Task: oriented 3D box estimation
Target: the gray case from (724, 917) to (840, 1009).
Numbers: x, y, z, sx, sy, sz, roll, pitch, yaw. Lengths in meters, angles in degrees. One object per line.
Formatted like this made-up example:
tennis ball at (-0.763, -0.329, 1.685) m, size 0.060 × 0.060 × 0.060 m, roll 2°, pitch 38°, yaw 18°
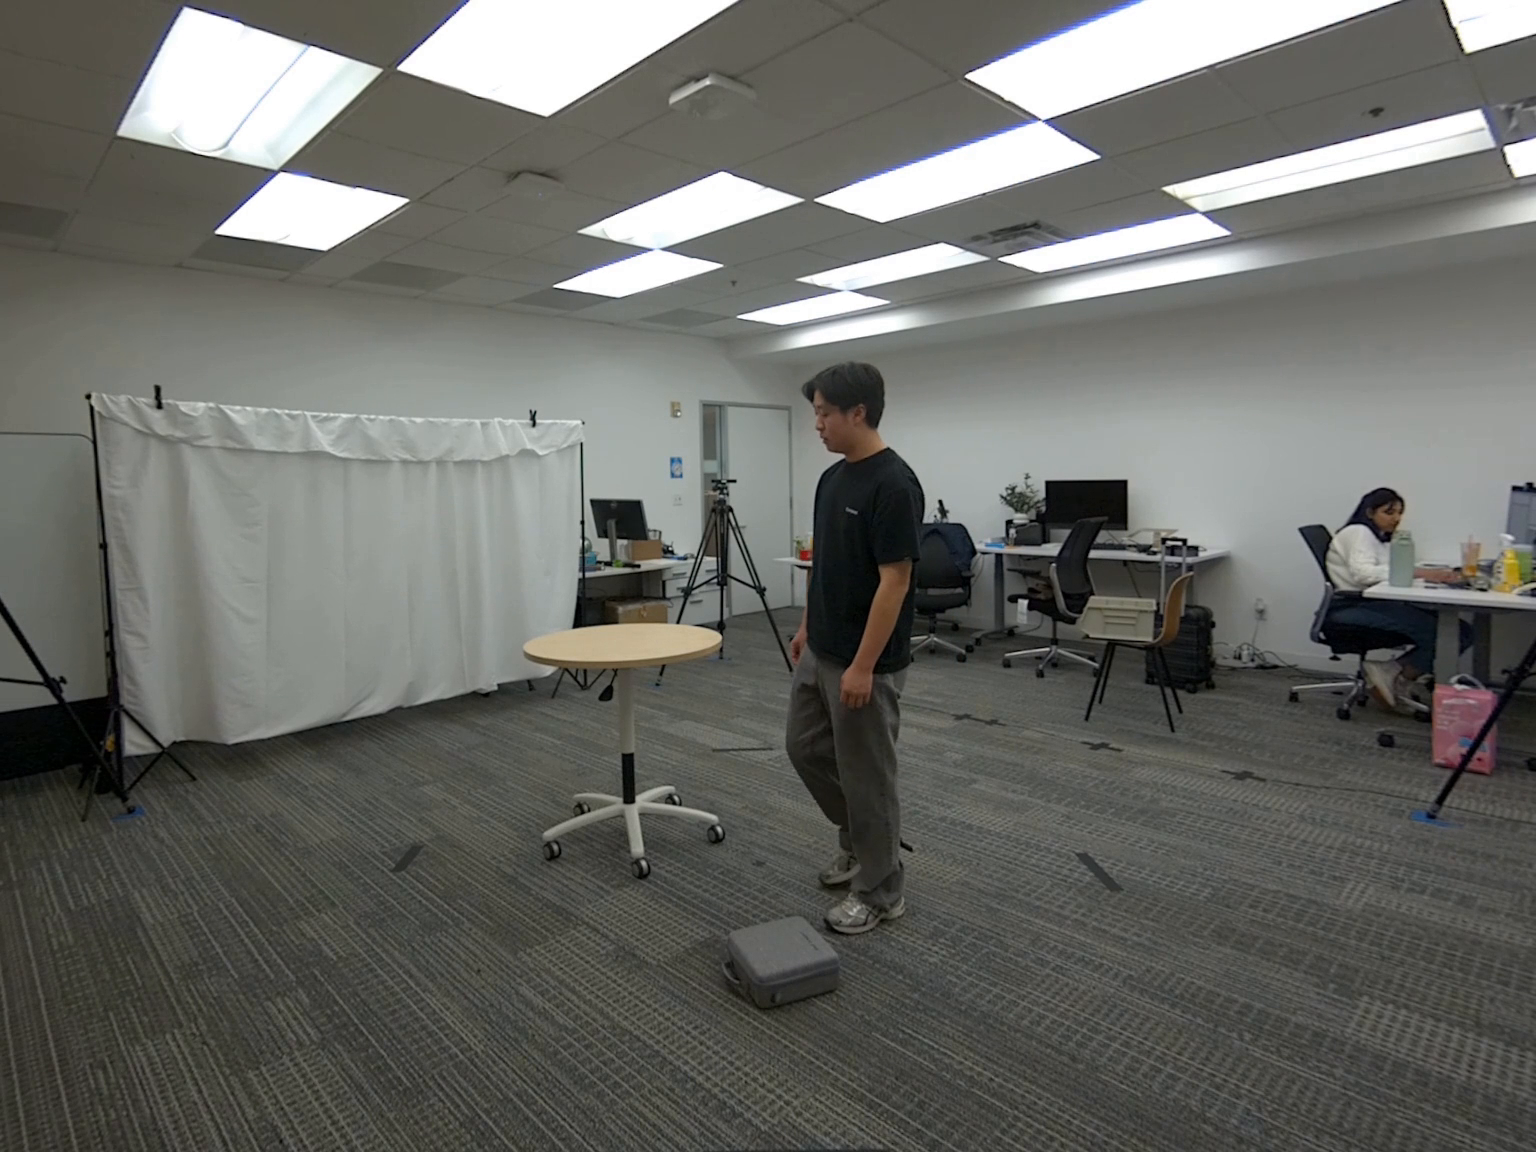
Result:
gray case at (0.034, 1.075, 2.390) m, size 0.282 × 0.102 × 0.269 m, roll -5°, pitch 7°, yaw -21°
